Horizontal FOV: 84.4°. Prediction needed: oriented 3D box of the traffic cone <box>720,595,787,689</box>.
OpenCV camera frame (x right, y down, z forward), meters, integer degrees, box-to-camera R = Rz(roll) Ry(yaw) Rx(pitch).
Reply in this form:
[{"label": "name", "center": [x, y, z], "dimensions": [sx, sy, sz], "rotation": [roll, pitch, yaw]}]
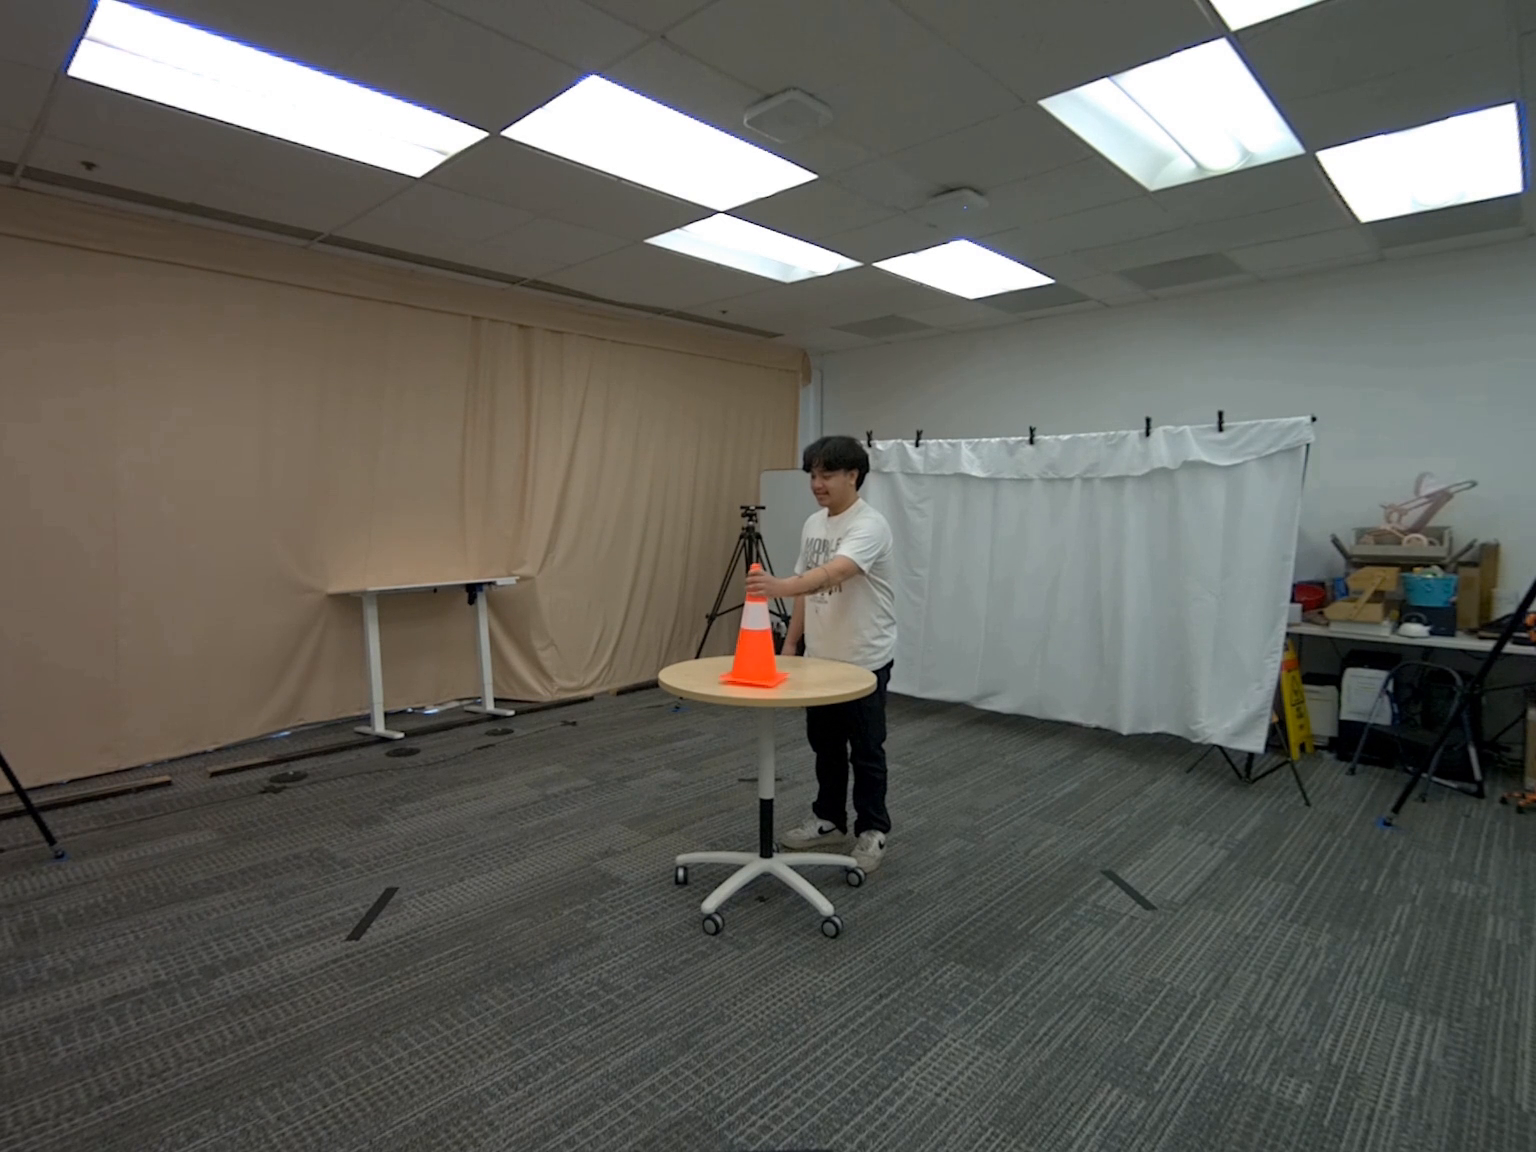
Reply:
[{"label": "traffic cone", "center": [-0.035, 0.156, 2.842], "dimensions": [0.210, 0.383, 0.199], "rotation": [1, 3, 21]}]
